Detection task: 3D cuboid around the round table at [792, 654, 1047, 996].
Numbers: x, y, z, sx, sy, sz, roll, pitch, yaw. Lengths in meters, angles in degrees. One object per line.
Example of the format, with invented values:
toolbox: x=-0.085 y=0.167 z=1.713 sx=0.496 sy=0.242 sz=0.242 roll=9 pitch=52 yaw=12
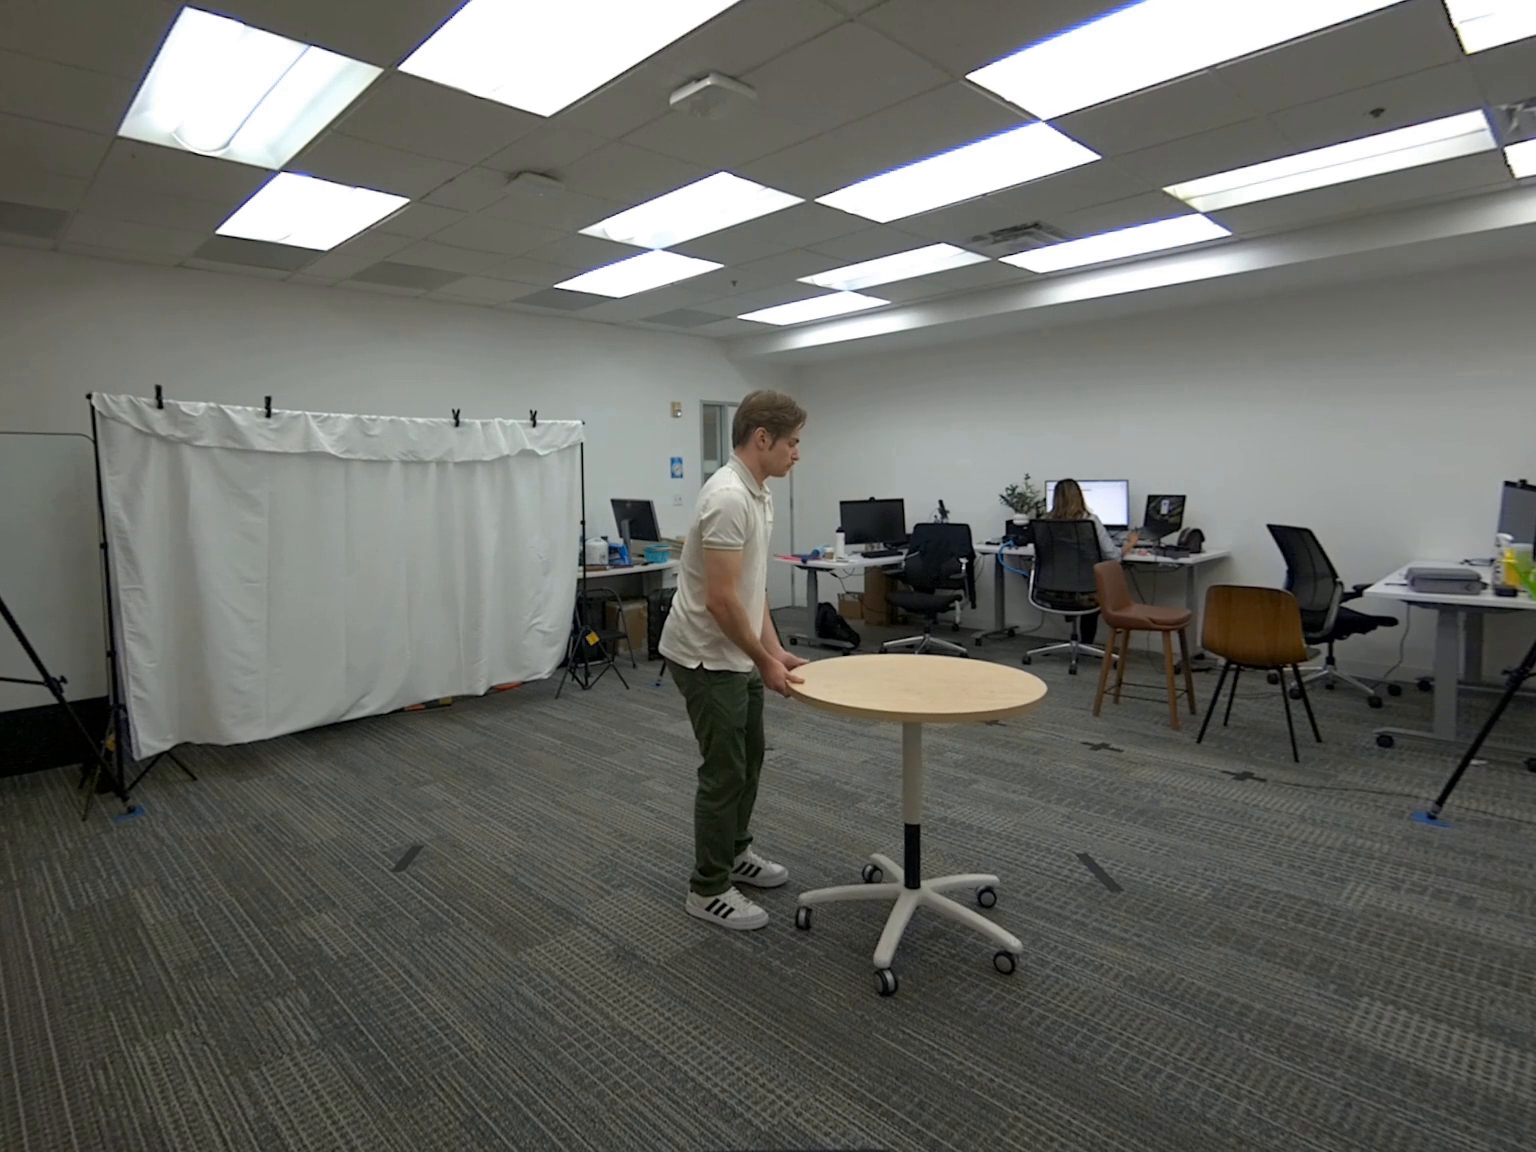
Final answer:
round table: x=0.441 y=0.704 z=2.612 sx=0.763 sy=0.791 sz=0.768 roll=-1 pitch=5 yaw=-2
